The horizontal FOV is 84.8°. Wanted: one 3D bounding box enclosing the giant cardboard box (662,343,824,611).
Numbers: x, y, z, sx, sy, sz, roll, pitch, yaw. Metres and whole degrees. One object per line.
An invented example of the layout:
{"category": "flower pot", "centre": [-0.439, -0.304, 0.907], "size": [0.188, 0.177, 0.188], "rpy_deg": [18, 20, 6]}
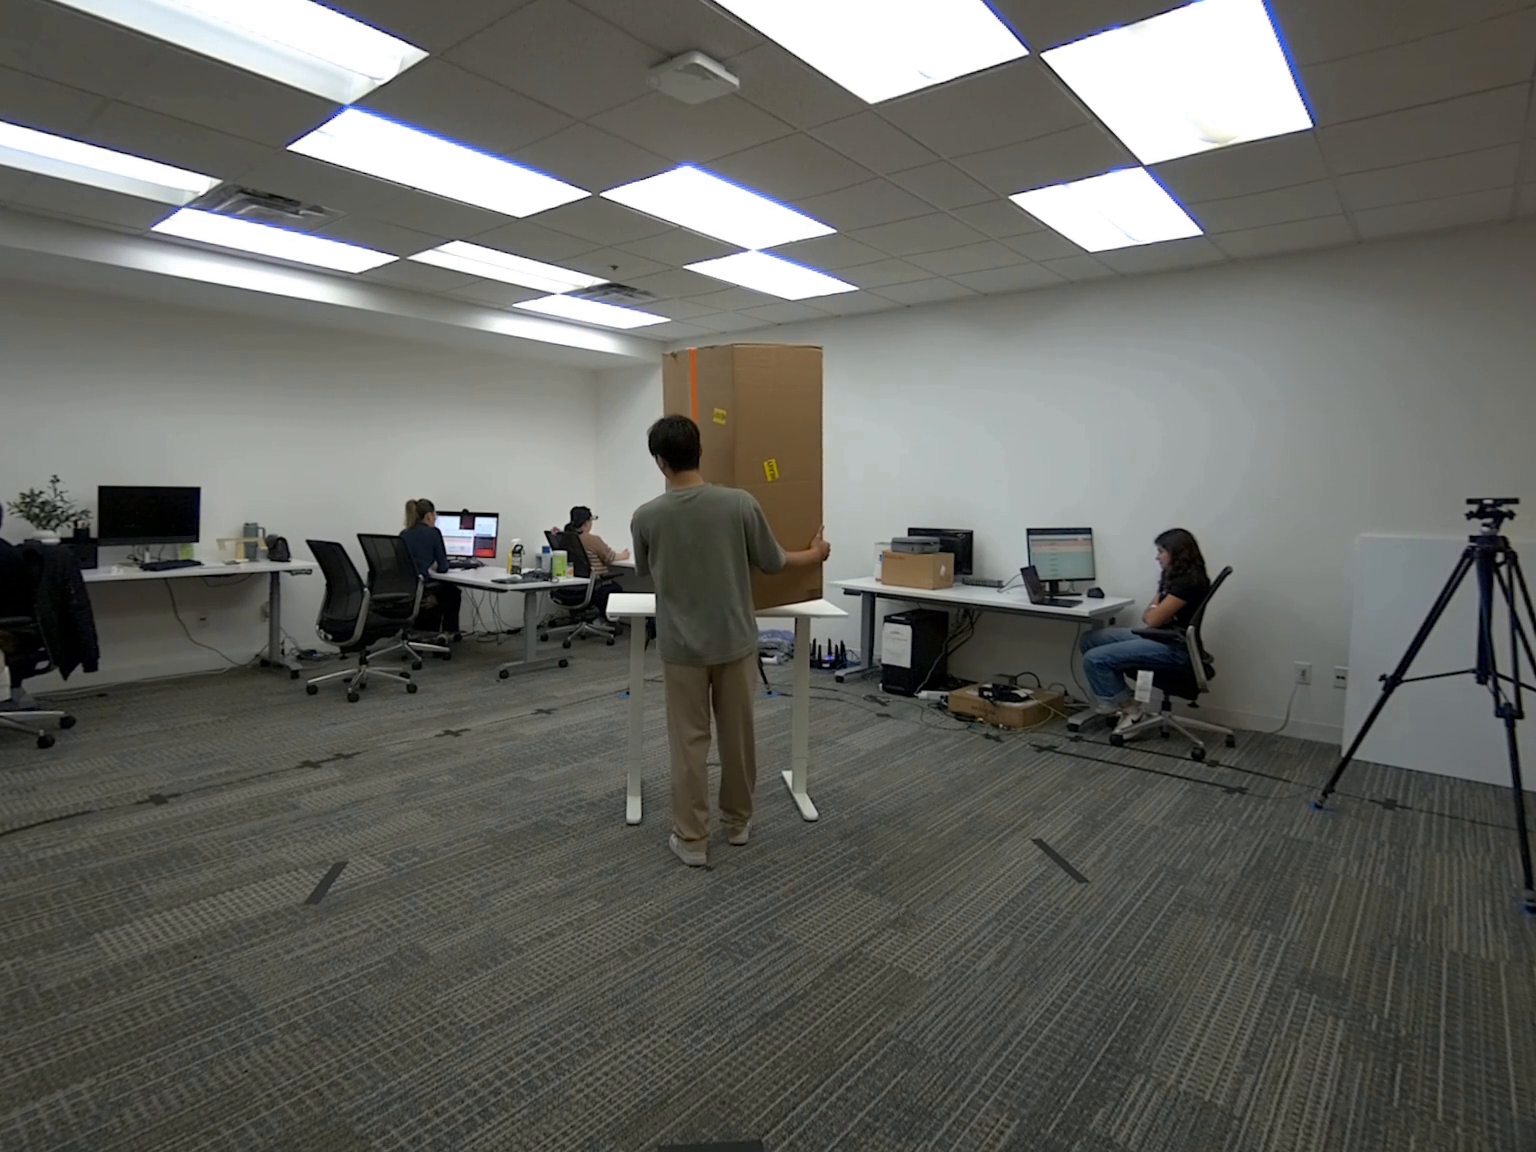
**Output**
{"category": "giant cardboard box", "centre": [-0.121, -0.428, 3.535], "size": [0.415, 1.016, 0.598], "rpy_deg": [-7, 11, -33]}
